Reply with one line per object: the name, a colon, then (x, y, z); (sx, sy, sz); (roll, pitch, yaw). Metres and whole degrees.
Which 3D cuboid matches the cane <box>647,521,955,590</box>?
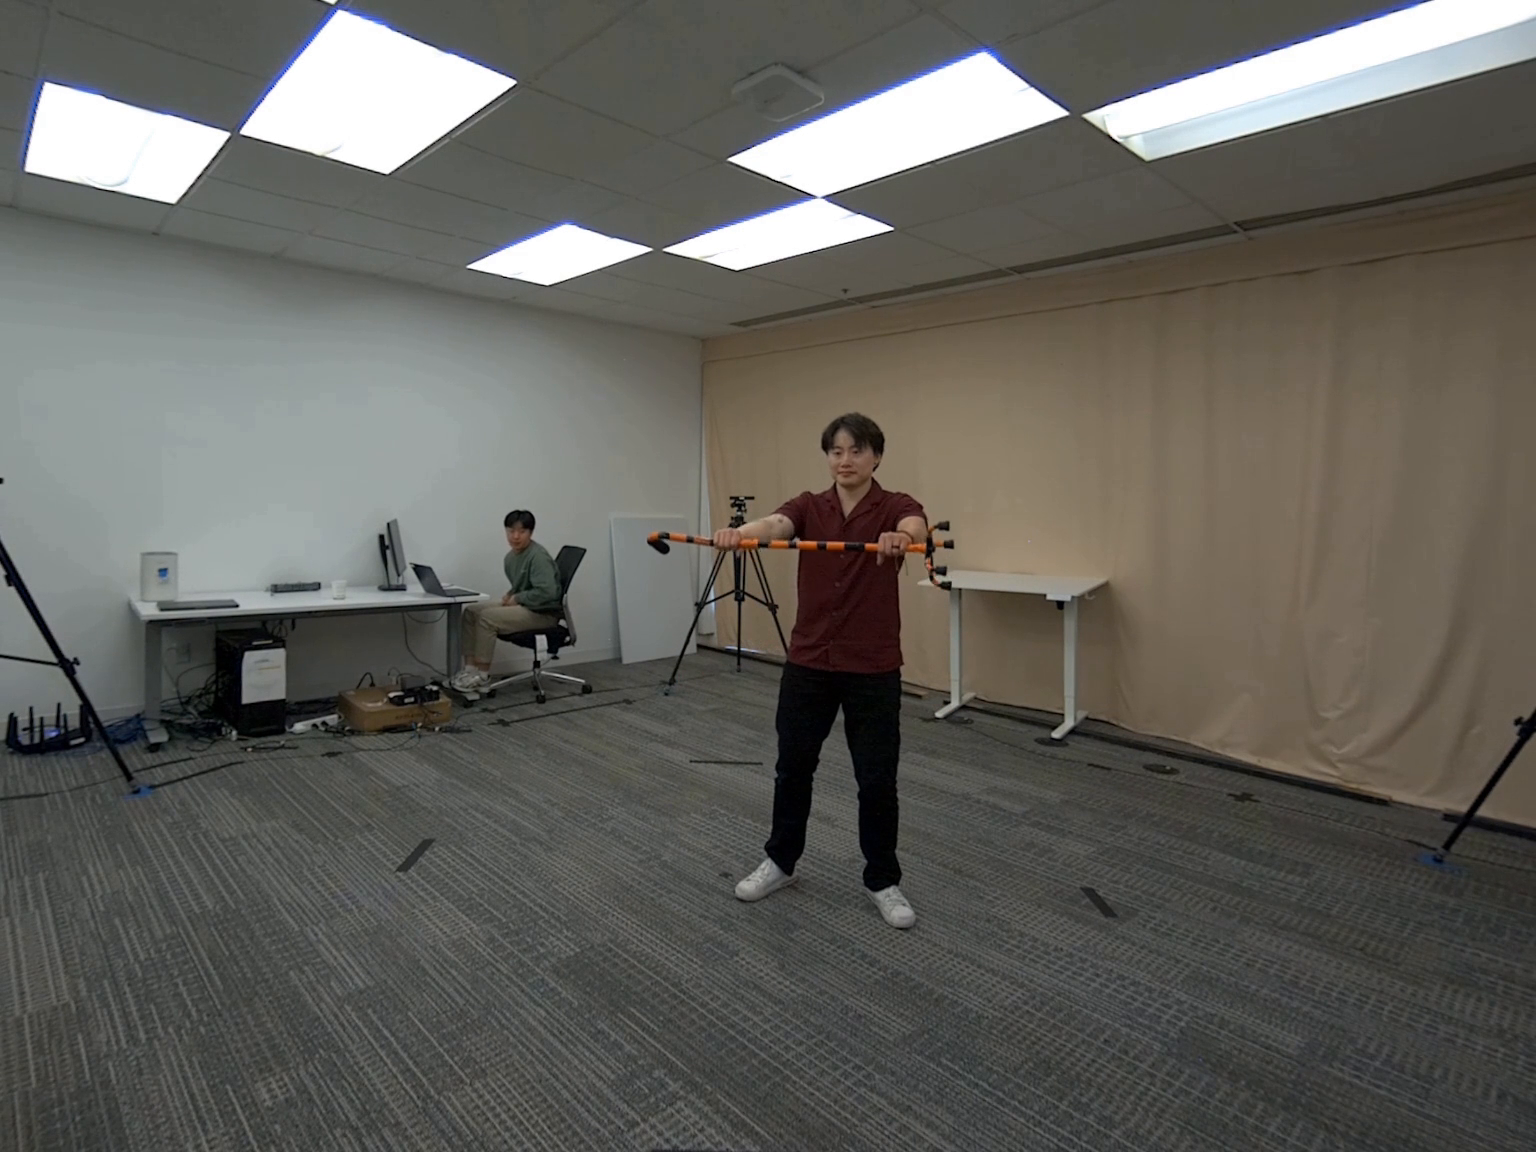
cane: (0.057, -0.062, 2.449); (0.922, 0.153, 0.201); (3, -14, 20)
